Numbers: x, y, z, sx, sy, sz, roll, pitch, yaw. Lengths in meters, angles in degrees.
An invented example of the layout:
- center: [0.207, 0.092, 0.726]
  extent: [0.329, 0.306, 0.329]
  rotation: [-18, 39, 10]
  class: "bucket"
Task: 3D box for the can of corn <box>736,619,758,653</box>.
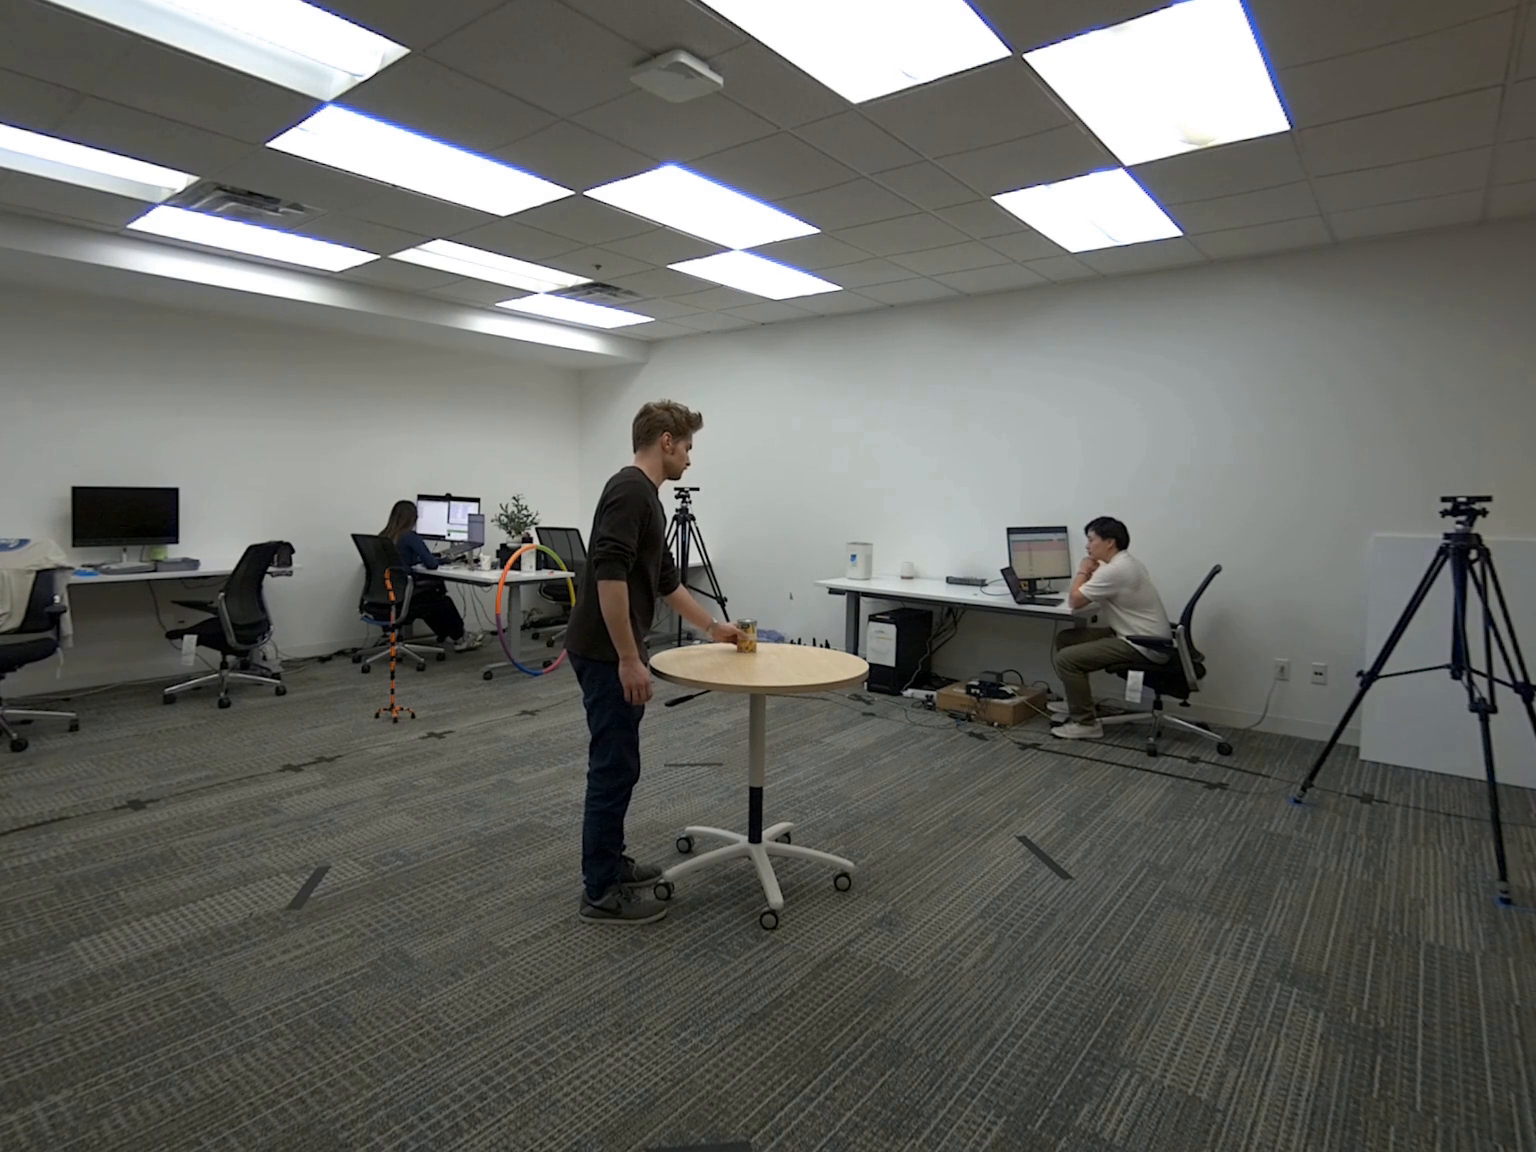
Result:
- center: [-0.087, 0.220, 3.184]
  extent: [0.074, 0.111, 0.074]
  rotation: [1, 2, -2]
  class: "can of corn"
